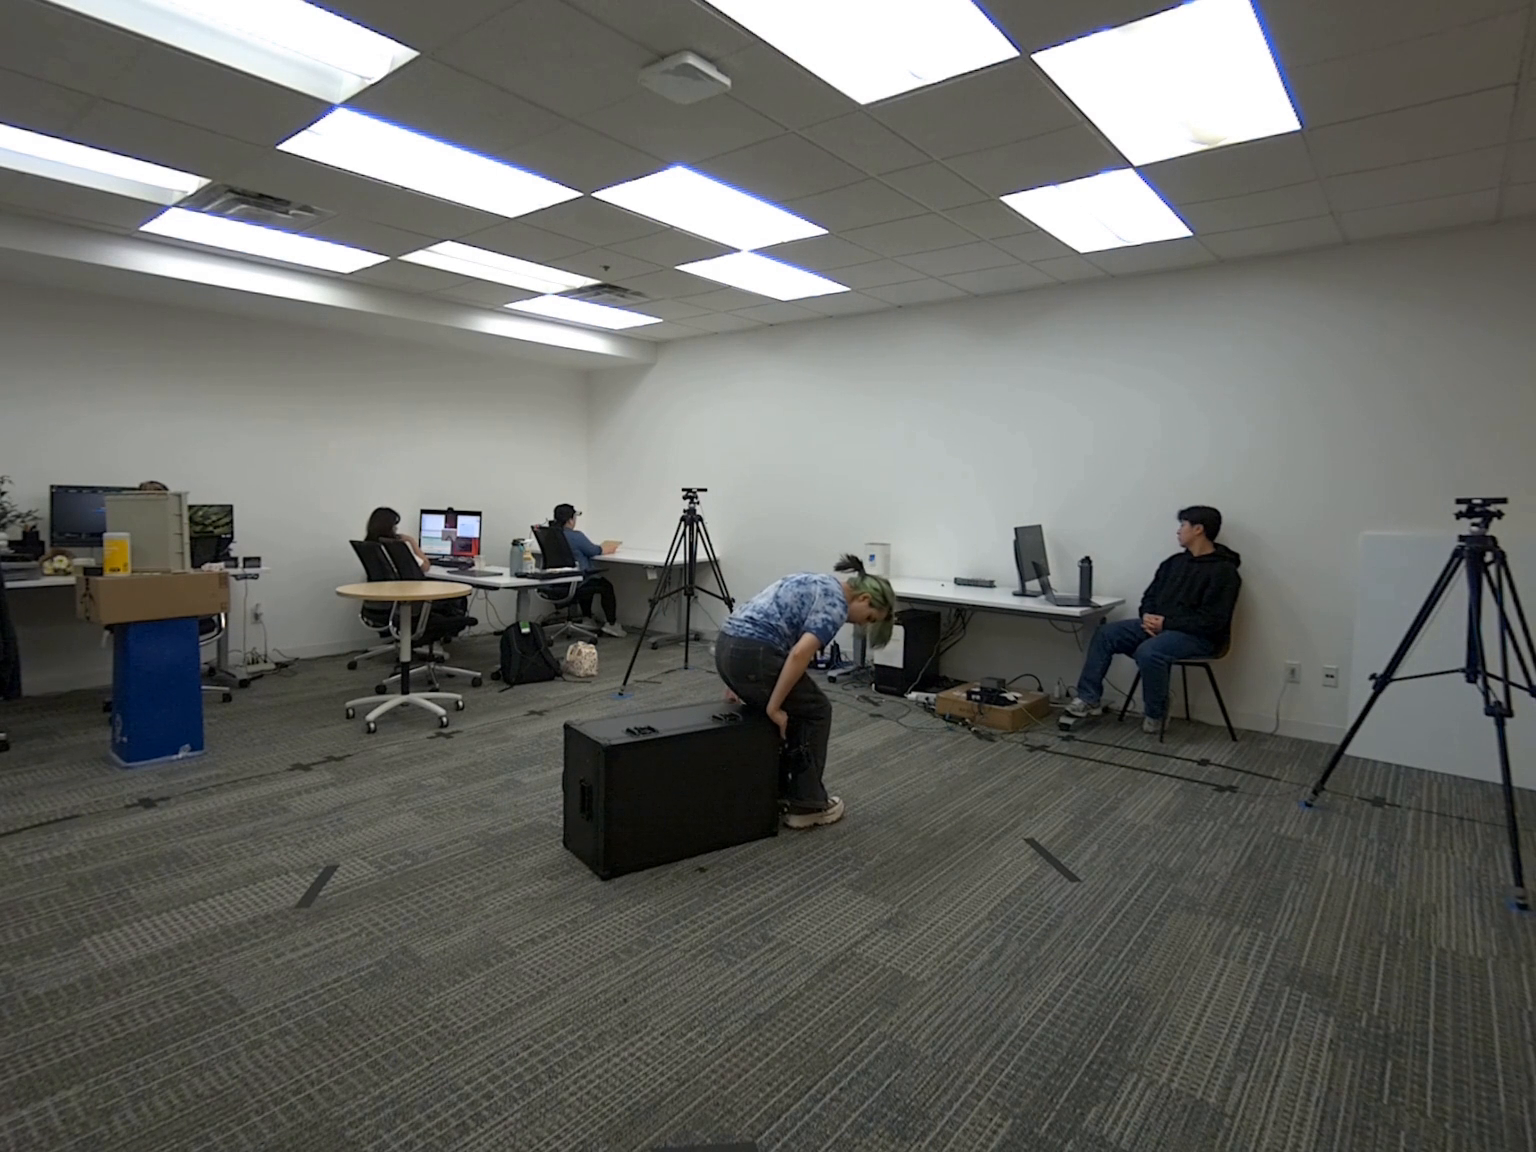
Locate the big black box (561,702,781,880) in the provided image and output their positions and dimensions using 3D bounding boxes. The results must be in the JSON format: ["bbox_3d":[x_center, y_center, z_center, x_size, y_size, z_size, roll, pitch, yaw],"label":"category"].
[{"bbox_3d":[-0.367,0.800,3.366,0.837,0.520,0.409,-1,5,-34],"label":"big black box"}]
